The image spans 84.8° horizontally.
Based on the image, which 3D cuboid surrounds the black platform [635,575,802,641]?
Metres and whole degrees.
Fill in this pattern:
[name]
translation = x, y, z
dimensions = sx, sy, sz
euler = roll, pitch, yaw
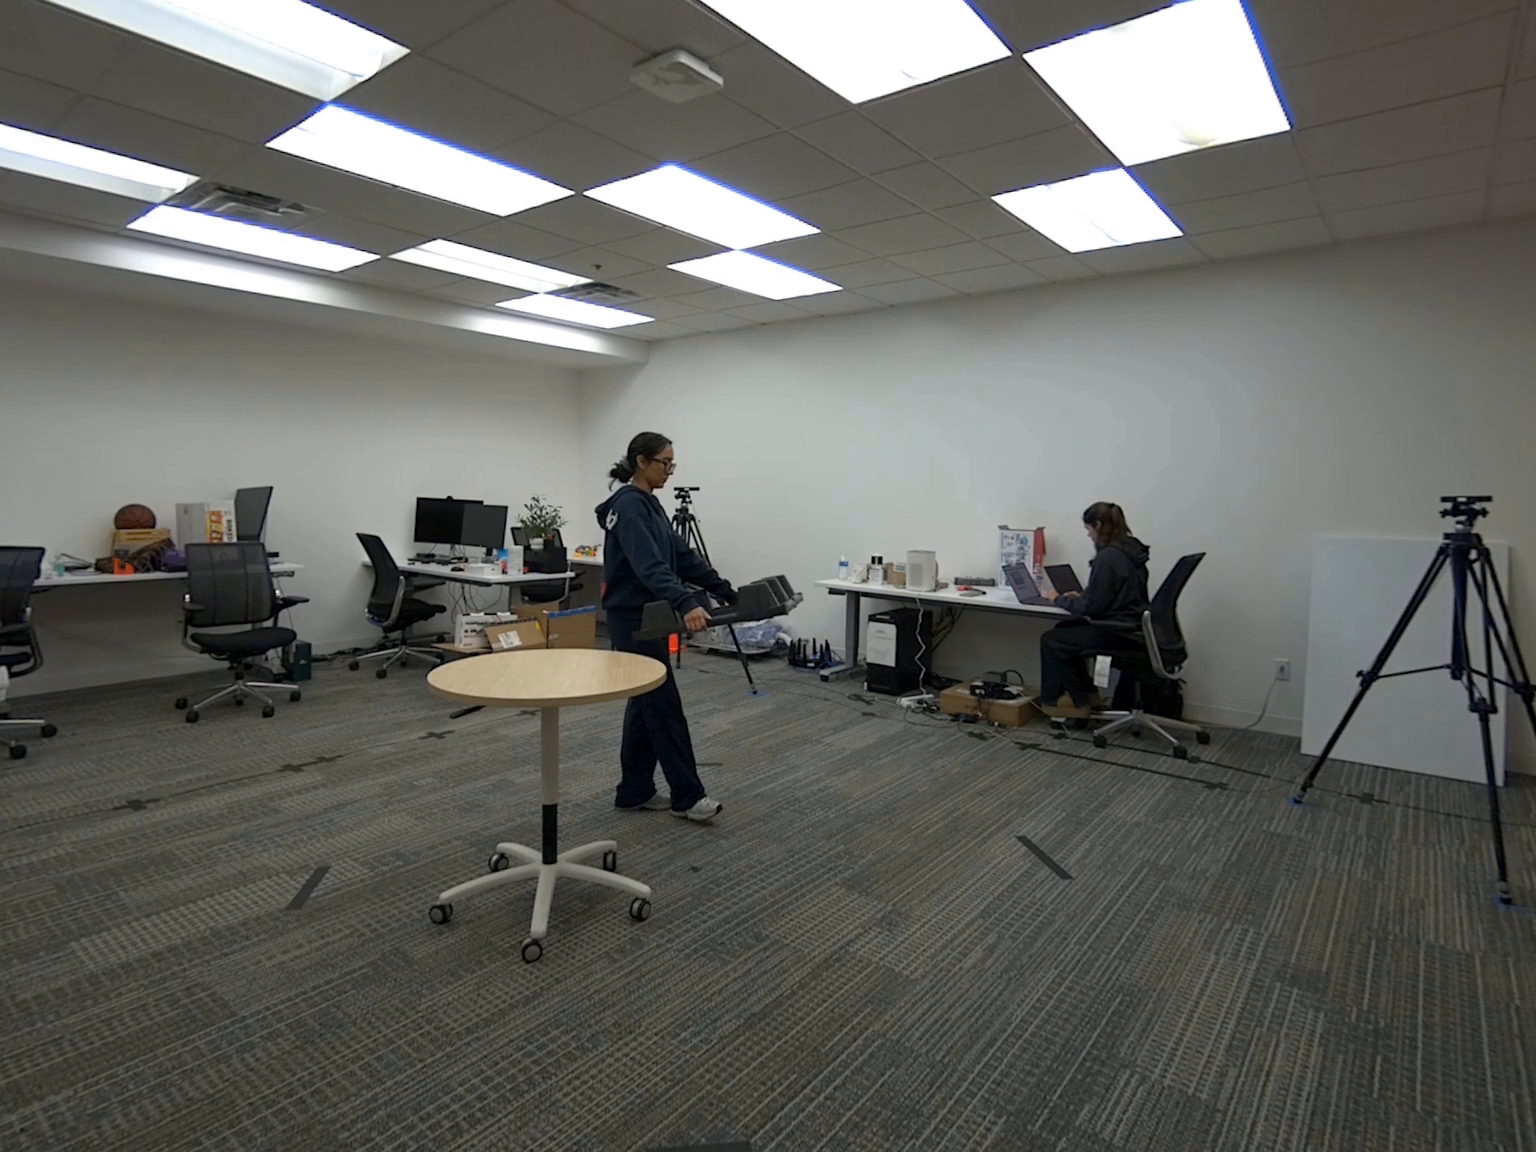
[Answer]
[black platform]
translation = -0.188, 0.114, 3.550
dimensions = 0.609, 0.143, 0.800
euler = -13, 2, 7
